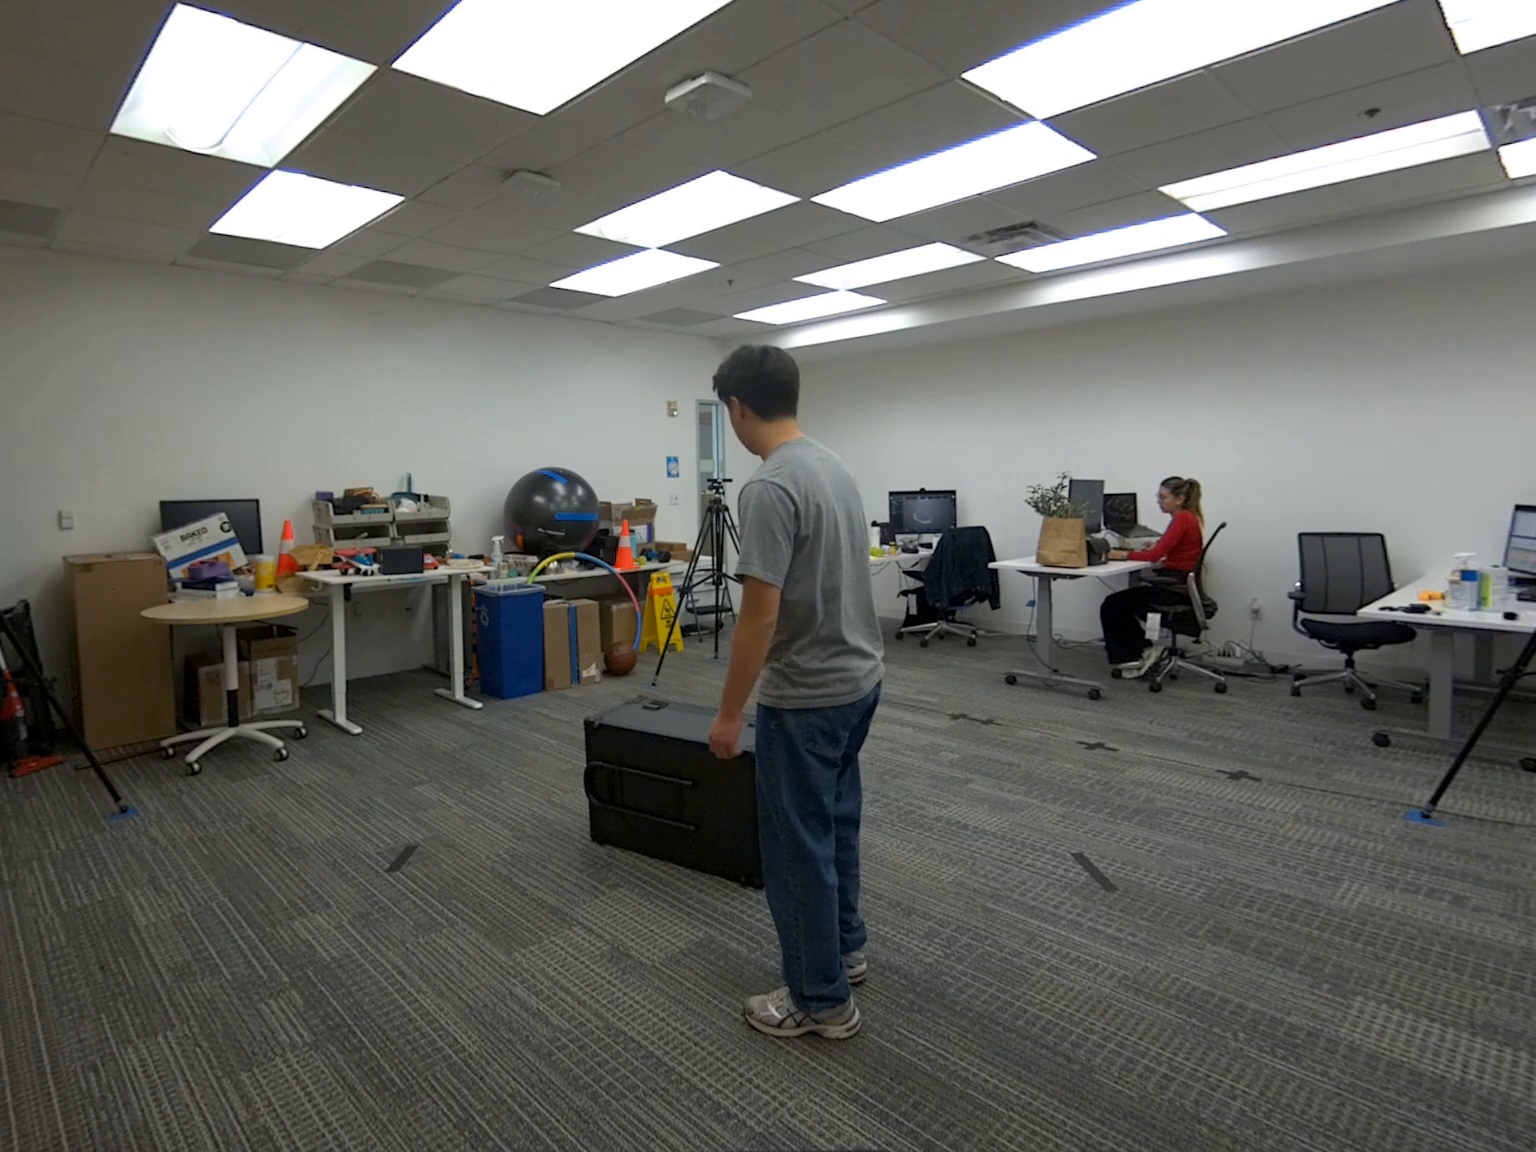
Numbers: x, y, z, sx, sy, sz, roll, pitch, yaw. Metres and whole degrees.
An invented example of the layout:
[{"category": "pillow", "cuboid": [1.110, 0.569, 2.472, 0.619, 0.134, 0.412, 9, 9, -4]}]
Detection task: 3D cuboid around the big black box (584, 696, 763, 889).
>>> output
[{"category": "big black box", "cuboid": [-0.255, 0.779, 3.210, 0.885, 0.518, 0.388, 2, 8, 32]}]
